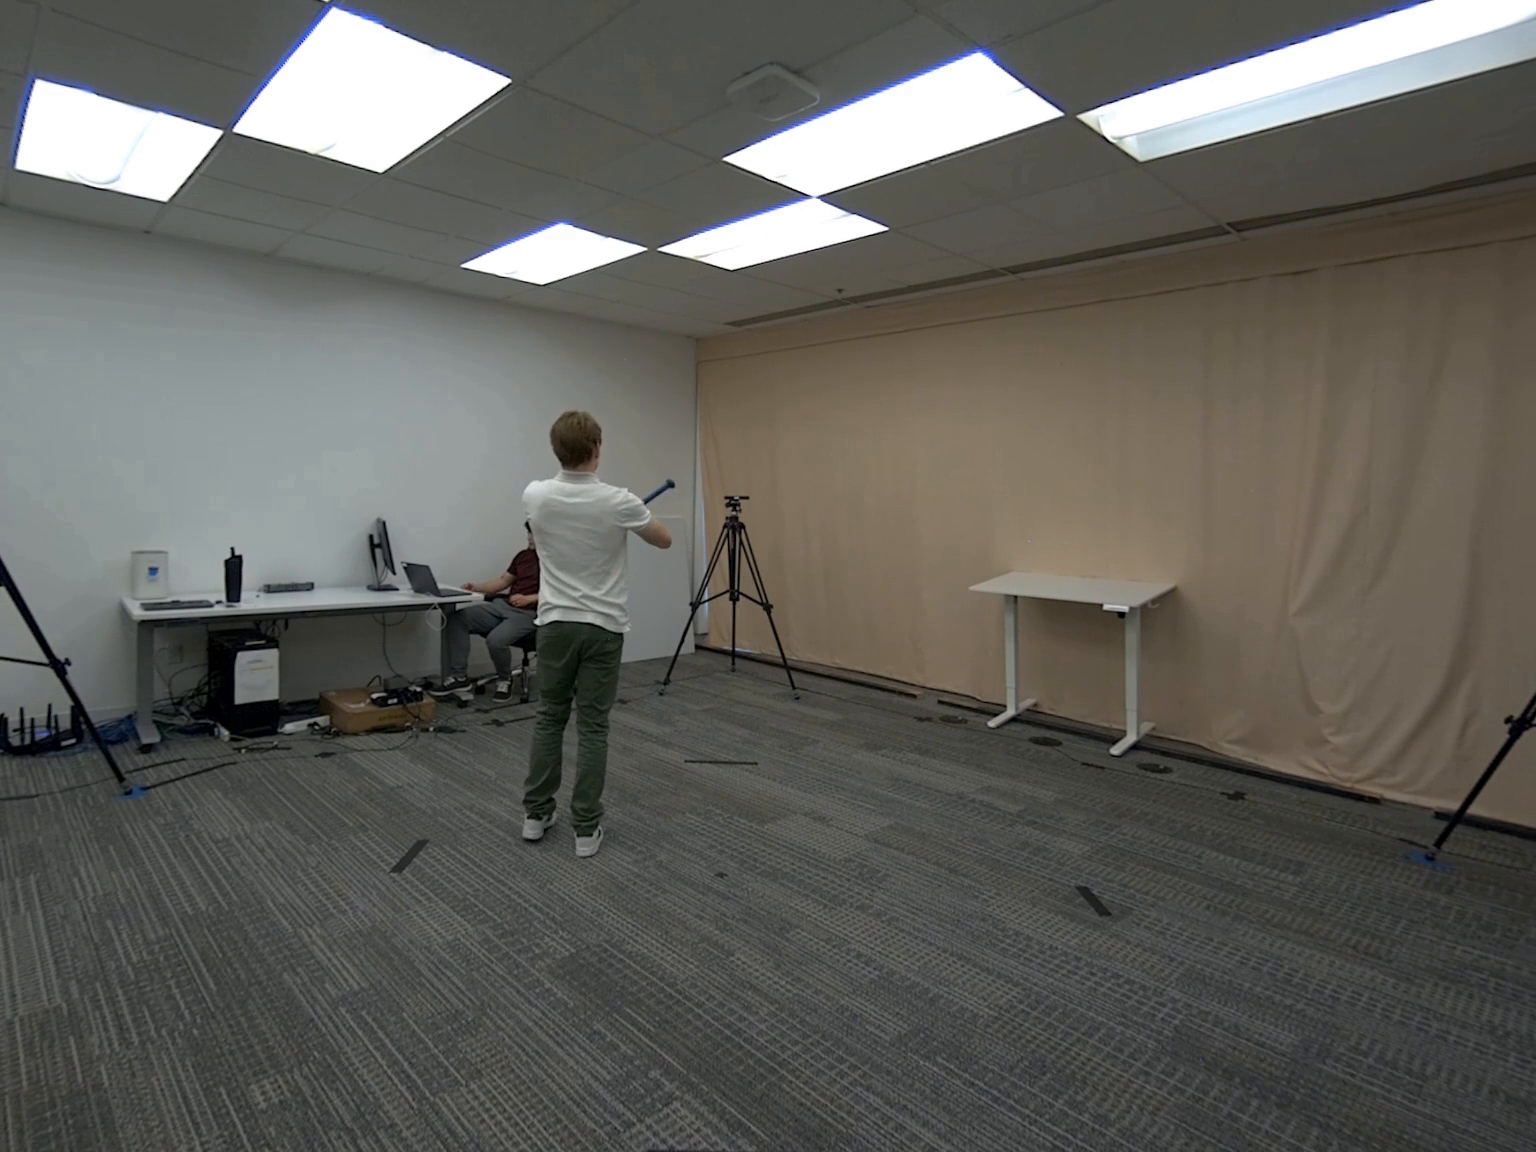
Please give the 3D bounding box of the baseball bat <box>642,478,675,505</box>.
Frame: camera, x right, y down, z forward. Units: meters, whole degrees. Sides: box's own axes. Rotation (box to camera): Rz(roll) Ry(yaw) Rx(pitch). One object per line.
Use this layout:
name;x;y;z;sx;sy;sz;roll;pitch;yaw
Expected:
baseball bat;-0.641;-0.259;3.708;0.541;0.088;0.090;-37;15;-13
